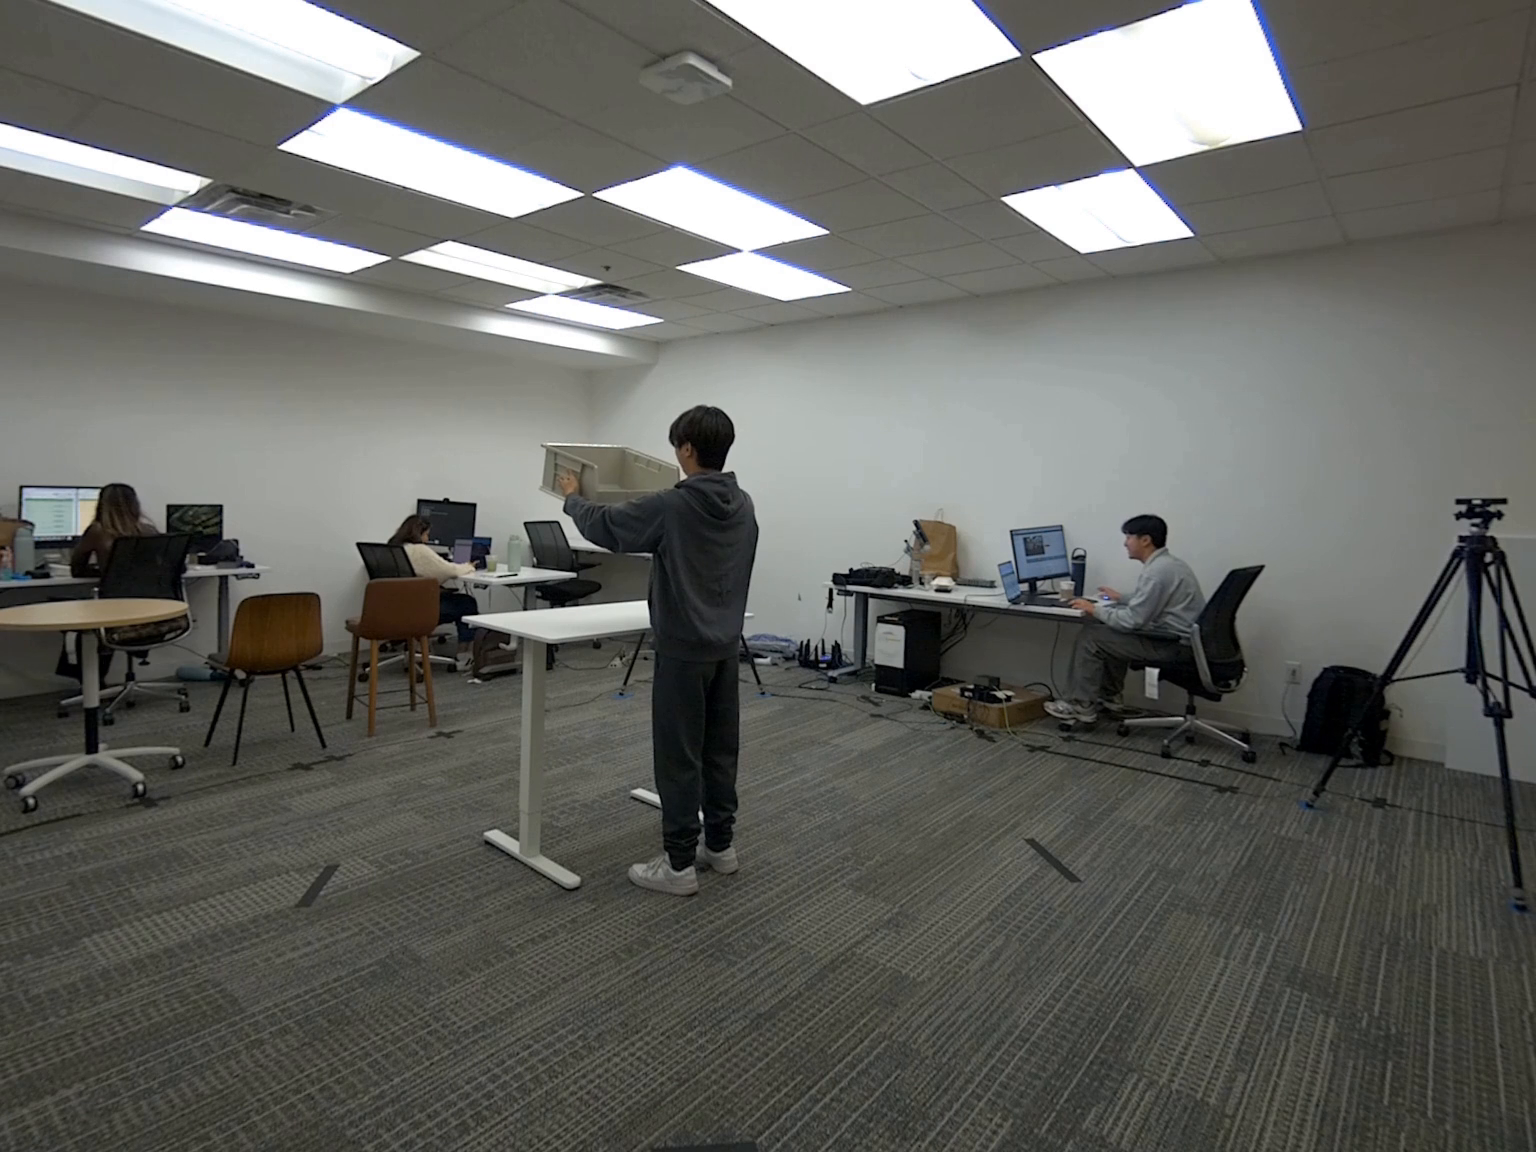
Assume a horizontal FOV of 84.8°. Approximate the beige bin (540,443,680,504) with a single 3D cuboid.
[{"bbox_3d":[-0.628,-0.385,3.333,0.393,0.187,0.410,24,21,39],"label":"beige bin"}]
